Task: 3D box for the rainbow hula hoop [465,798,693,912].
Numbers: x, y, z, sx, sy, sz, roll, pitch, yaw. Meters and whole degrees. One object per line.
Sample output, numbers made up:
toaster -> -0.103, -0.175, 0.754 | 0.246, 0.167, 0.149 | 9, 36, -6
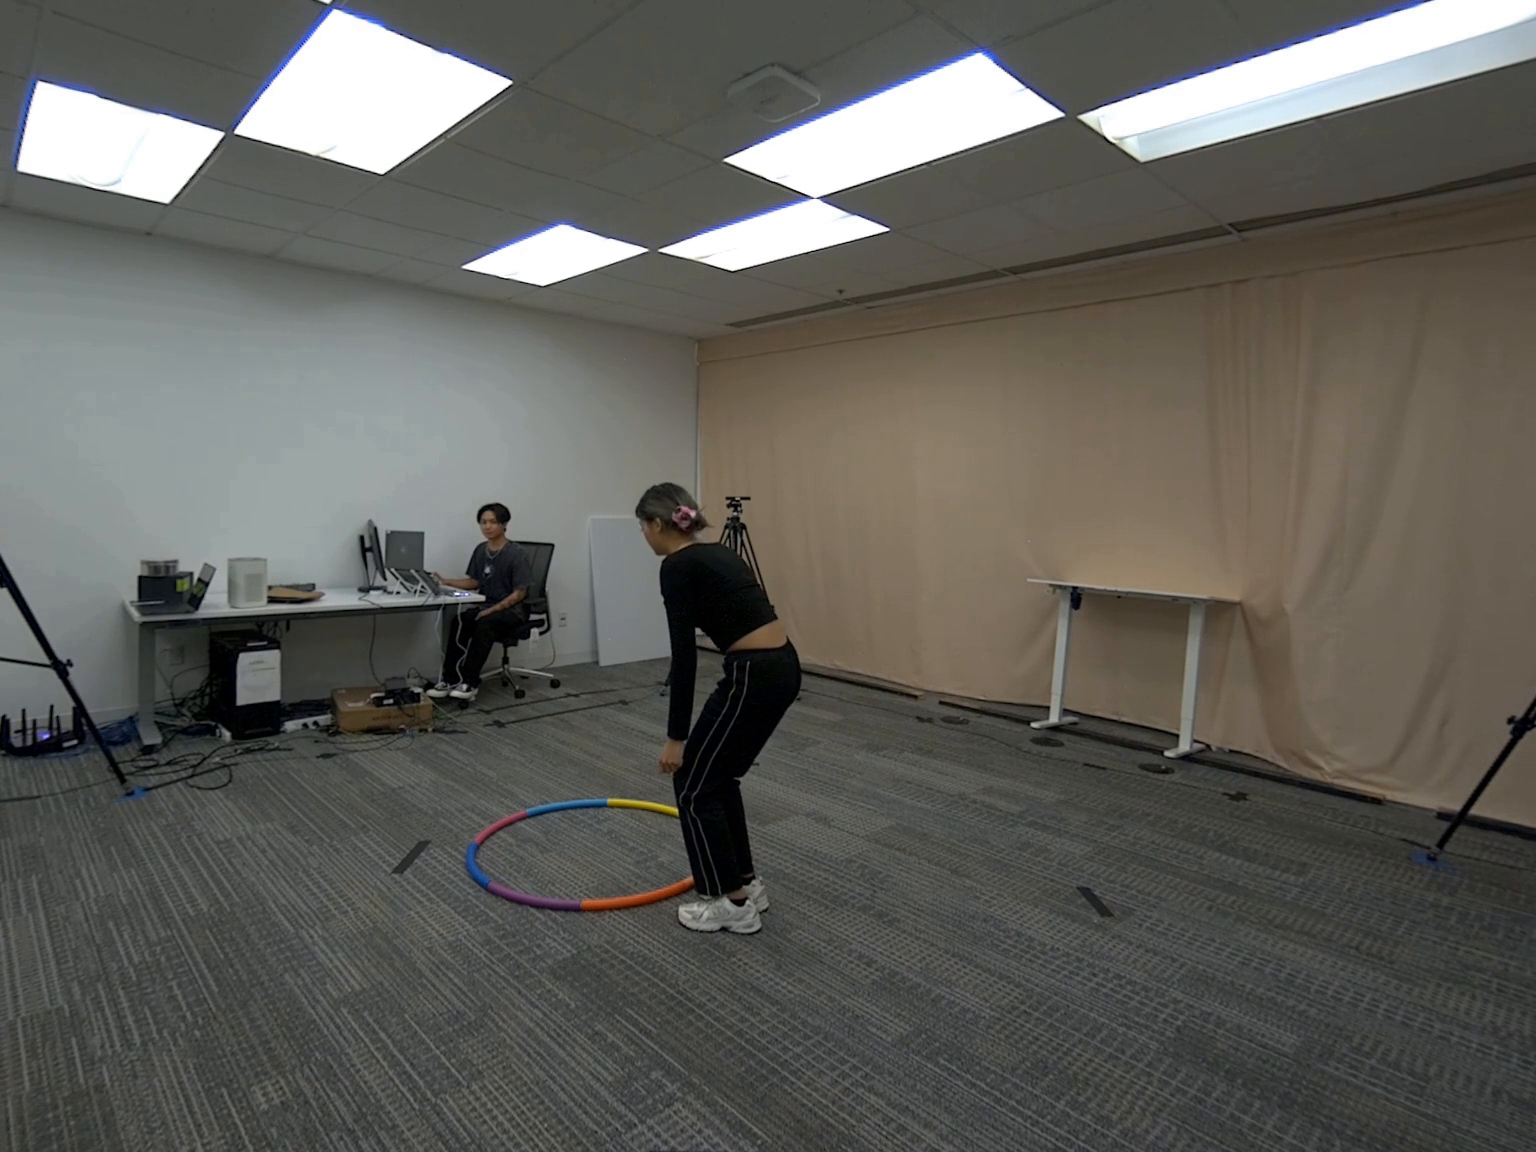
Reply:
rainbow hula hoop -> -0.672, 1.047, 3.300 | 0.978, 0.035, 0.982 | 2, 5, -1
